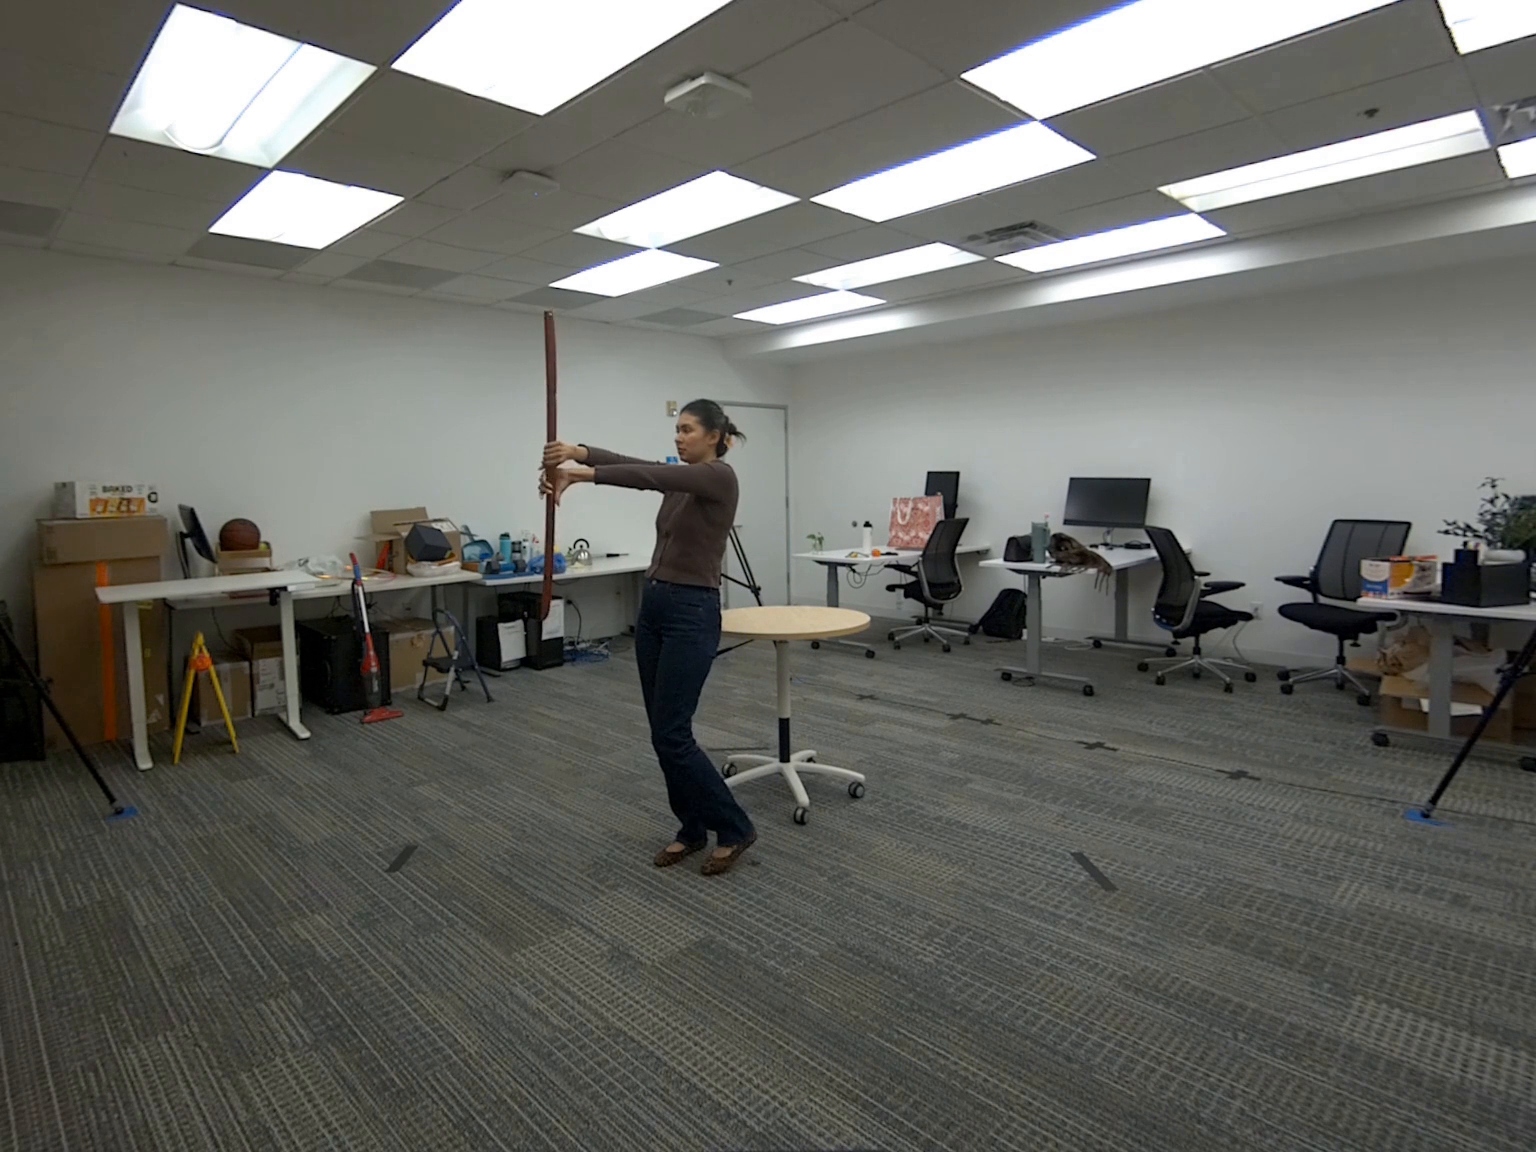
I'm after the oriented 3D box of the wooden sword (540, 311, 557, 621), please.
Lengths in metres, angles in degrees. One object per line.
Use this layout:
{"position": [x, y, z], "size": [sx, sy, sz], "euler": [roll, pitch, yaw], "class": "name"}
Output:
{"position": [-0.738, -0.376, 2.859], "size": [0.050, 1.022, 0.025], "euler": [-3, 4, -41], "class": "wooden sword"}
